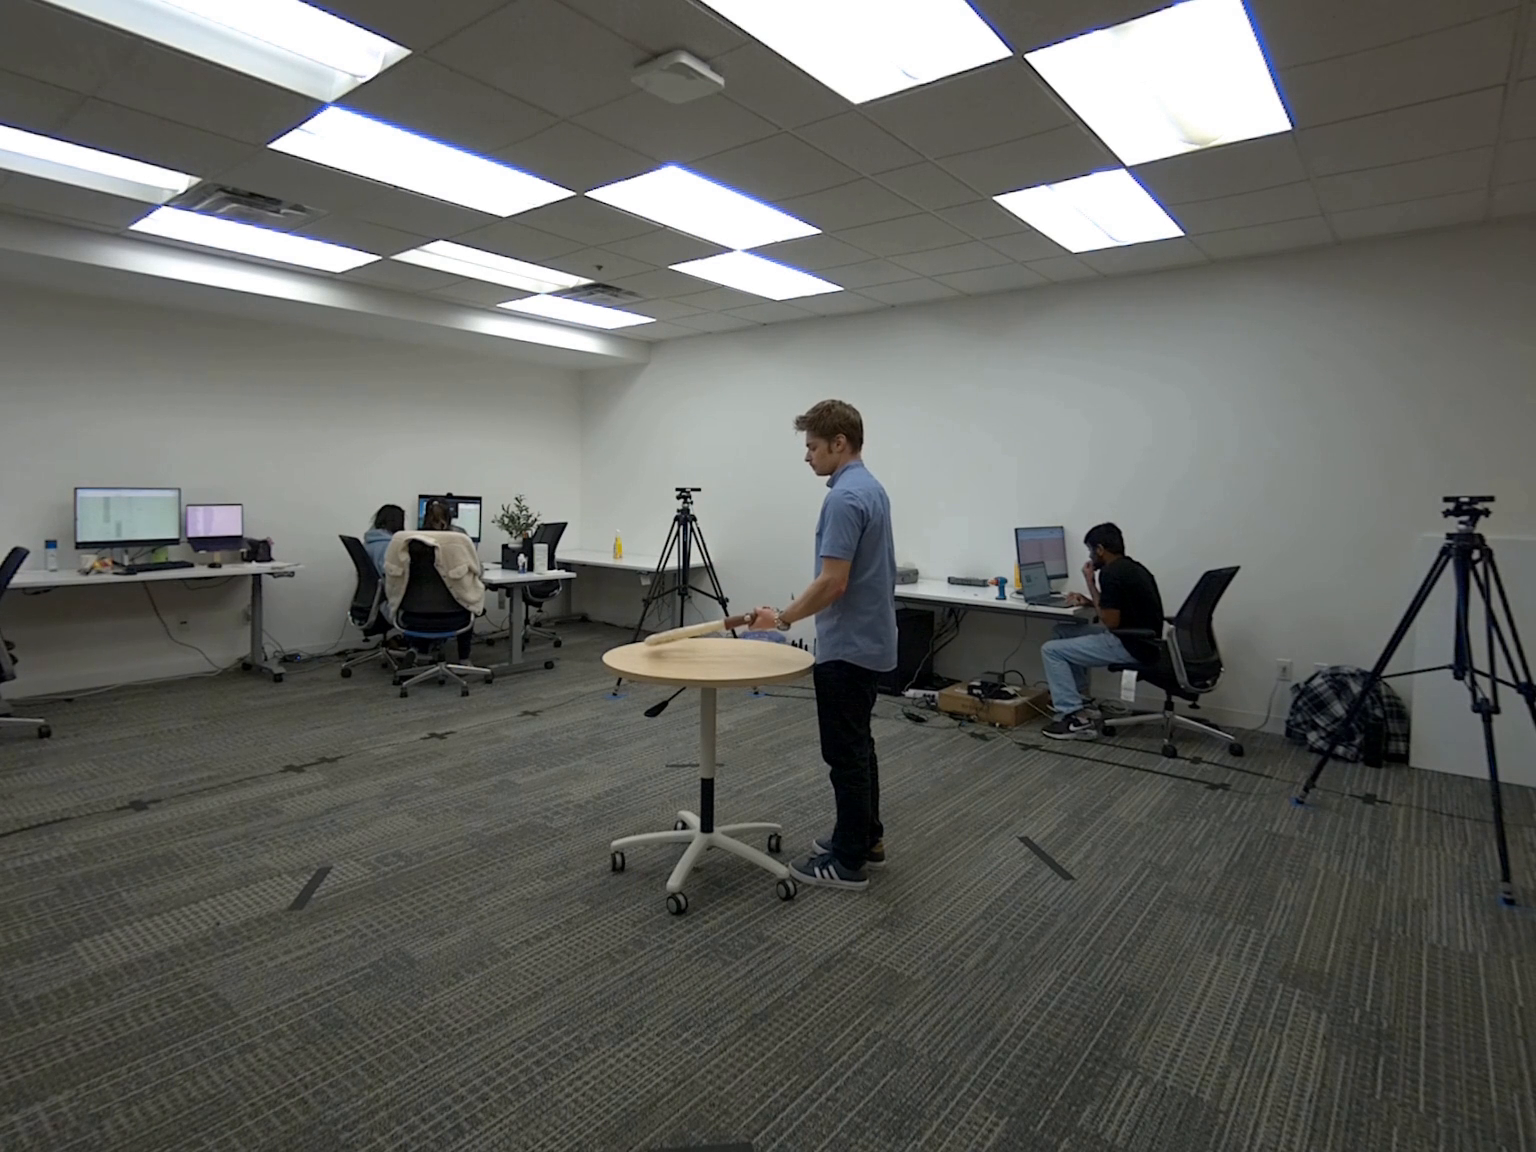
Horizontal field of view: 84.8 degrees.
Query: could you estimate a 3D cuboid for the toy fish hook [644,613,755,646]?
[{"bbox_3d":[-0.215,0.188,3.120,0.509,0.048,0.222,-12,-3,5],"label":"toy fish hook"}]
